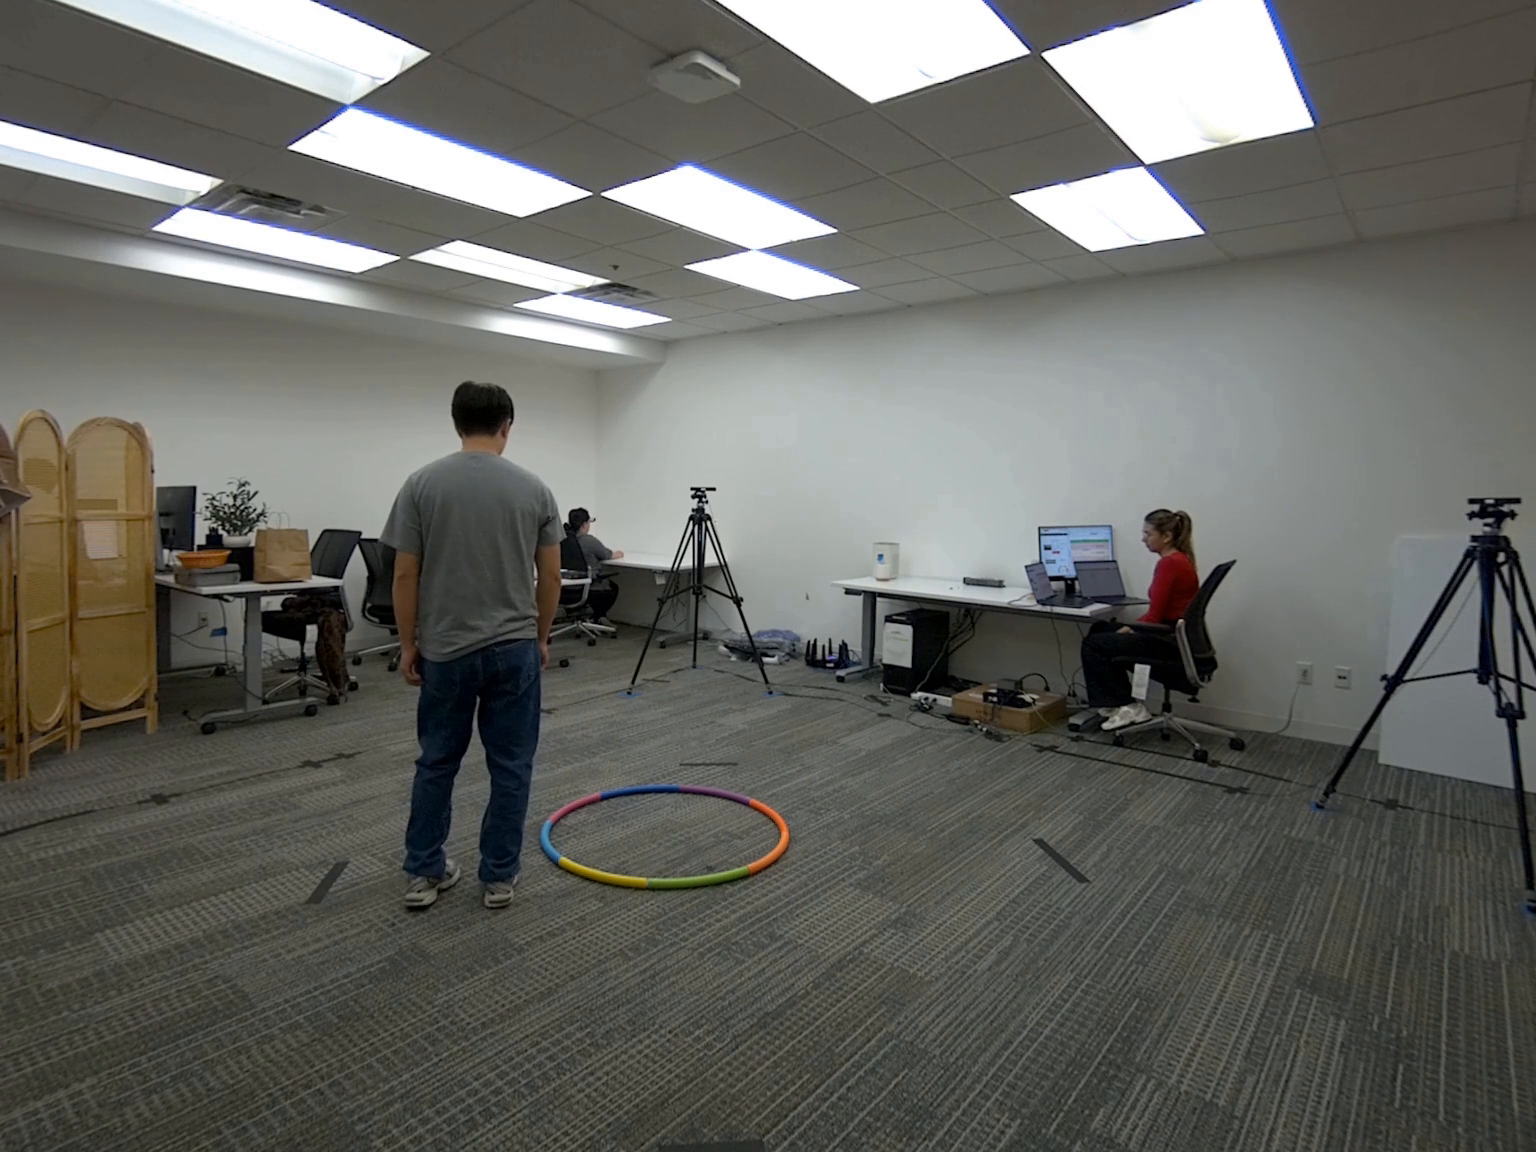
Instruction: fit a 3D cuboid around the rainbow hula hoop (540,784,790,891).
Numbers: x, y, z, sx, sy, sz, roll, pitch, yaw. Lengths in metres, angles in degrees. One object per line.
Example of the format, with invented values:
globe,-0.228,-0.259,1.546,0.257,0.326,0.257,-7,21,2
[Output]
rainbow hula hoop,-0.417,1.004,3.403,0.978,0.035,0.984,1,6,-2
